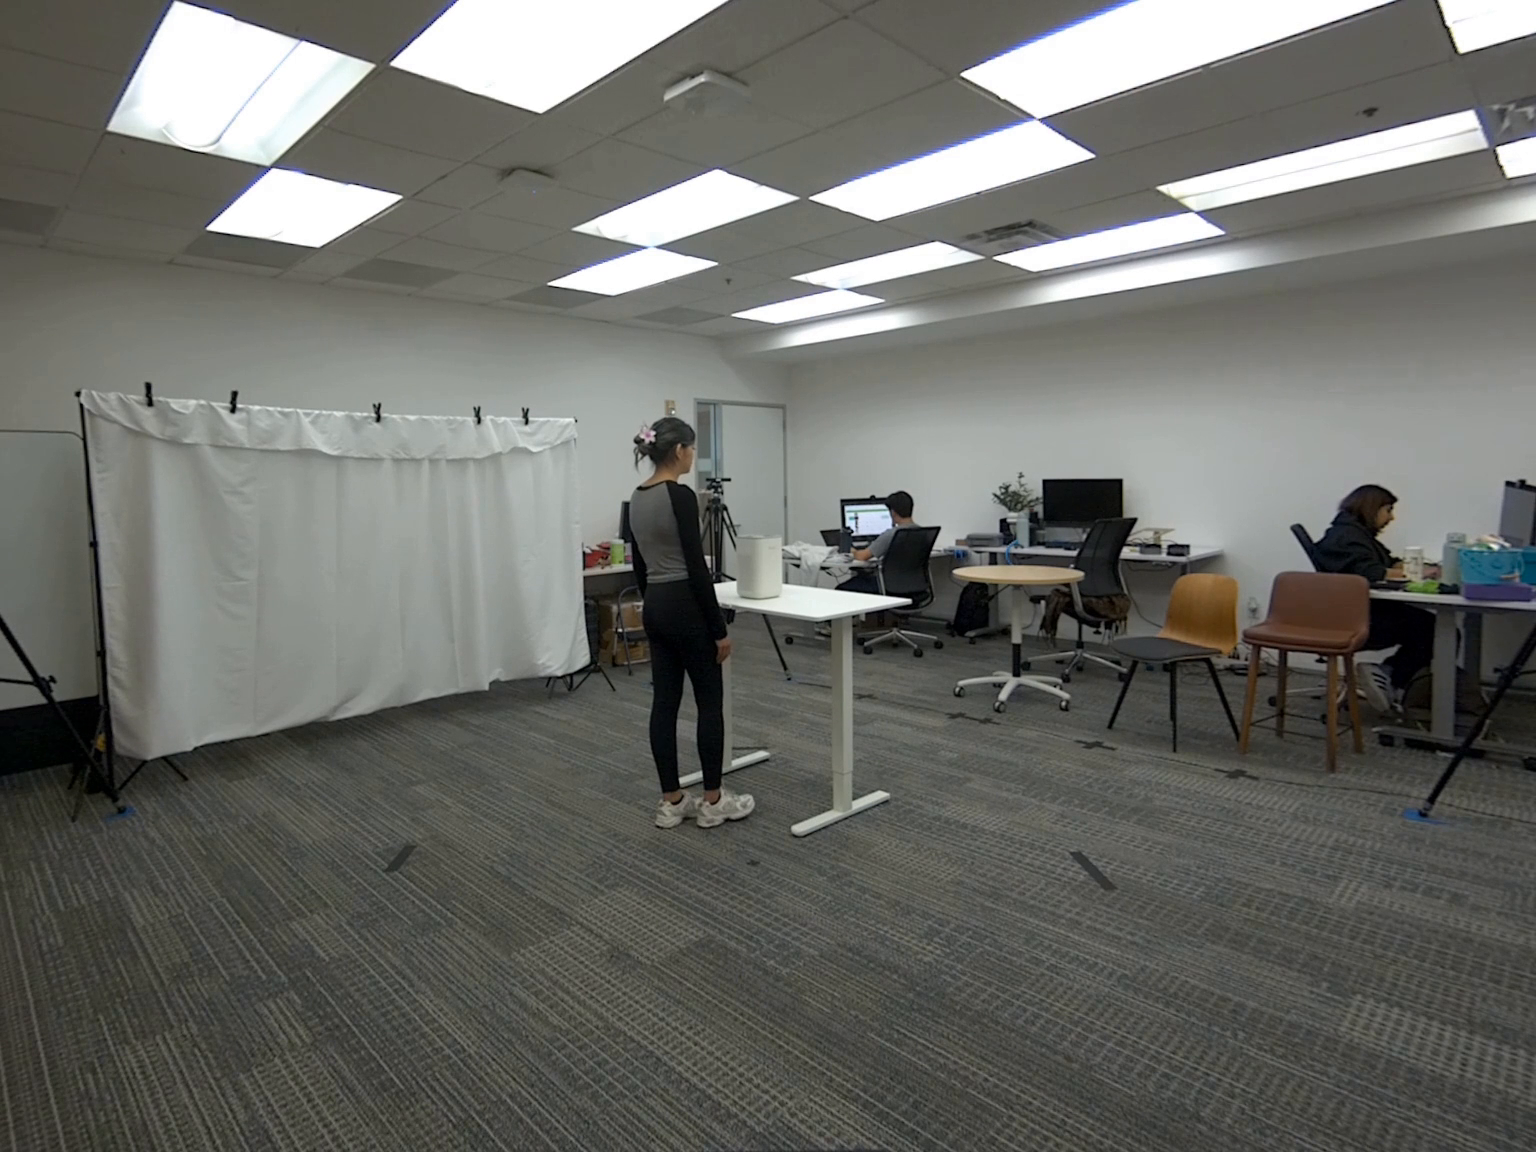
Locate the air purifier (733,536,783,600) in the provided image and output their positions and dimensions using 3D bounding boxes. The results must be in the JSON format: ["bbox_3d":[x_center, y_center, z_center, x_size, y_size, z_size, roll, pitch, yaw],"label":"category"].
[{"bbox_3d":[-0.029,-0.043,3.720,0.166,0.264,0.177,-4,6,-43],"label":"air purifier"}]
